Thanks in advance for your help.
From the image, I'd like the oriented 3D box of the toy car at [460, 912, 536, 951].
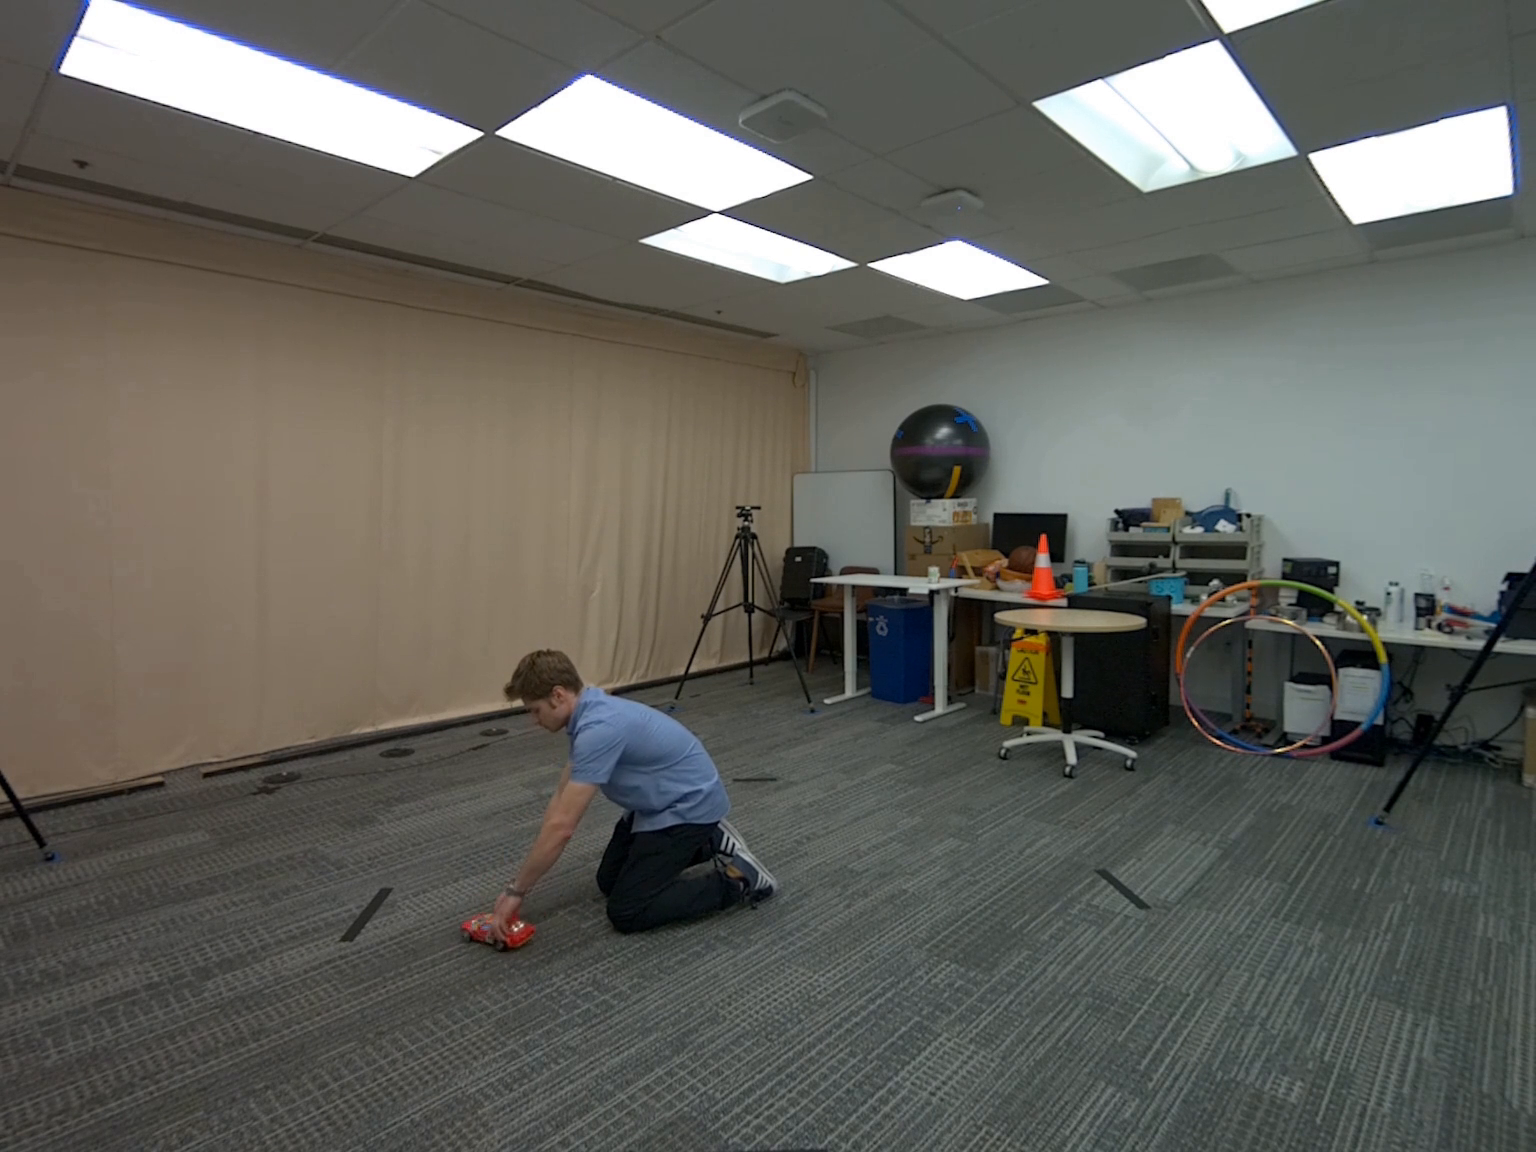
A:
[{"bbox_3d":[-0.863,1.146,2.715,0.260,0.083,0.128,-10,3,24],"label":"toy car"}]
